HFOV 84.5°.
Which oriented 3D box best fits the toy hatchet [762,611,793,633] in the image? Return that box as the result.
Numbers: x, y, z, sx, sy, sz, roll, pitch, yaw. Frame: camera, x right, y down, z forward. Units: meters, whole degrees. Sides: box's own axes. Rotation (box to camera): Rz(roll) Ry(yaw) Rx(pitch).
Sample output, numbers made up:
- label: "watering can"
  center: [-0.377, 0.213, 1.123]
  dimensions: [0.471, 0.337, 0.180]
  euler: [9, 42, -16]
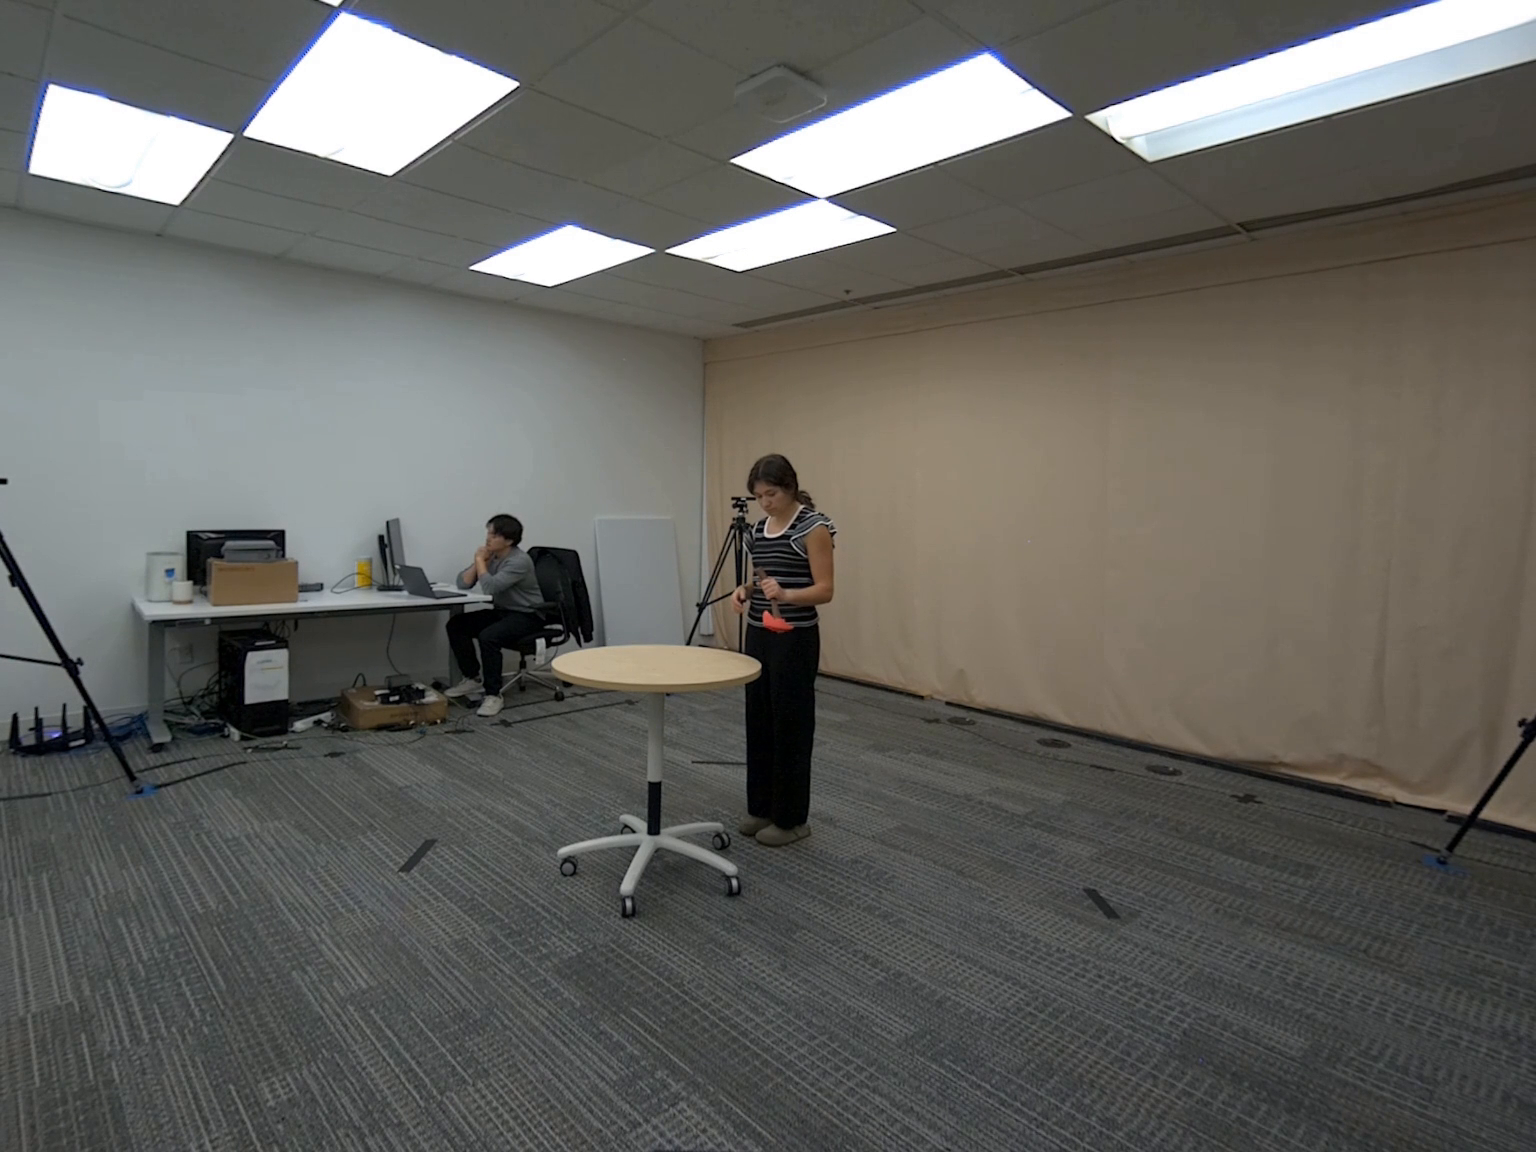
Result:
- label: "toy hatchet"
  center: [-0.030, 0.098, 3.130]
  dimensions: [0.128, 0.276, 0.029]
  euler: [-8, -30, -38]
